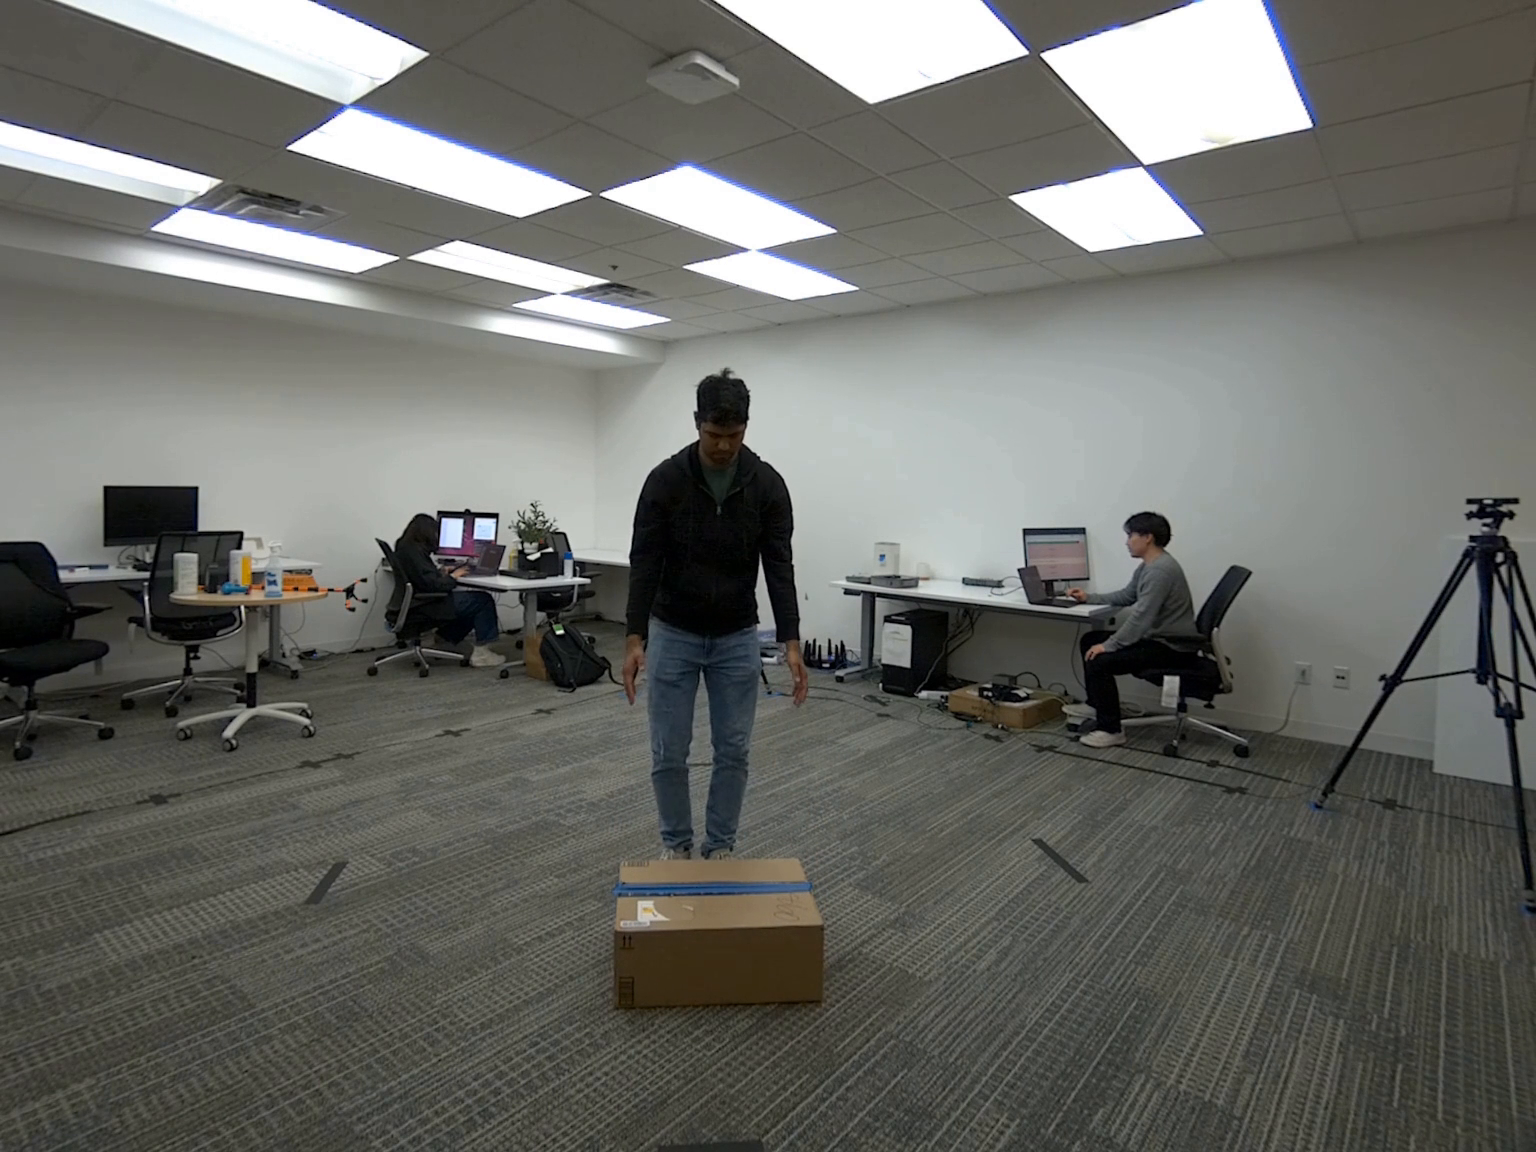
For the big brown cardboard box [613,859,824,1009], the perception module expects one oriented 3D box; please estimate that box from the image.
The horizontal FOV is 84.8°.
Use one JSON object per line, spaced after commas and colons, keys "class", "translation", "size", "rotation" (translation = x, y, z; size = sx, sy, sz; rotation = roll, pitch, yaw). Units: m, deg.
{"class": "big brown cardboard box", "translation": [-0.167, 1.022, 2.474], "size": [0.585, 0.232, 0.422], "rotation": [1, 5, -7]}
